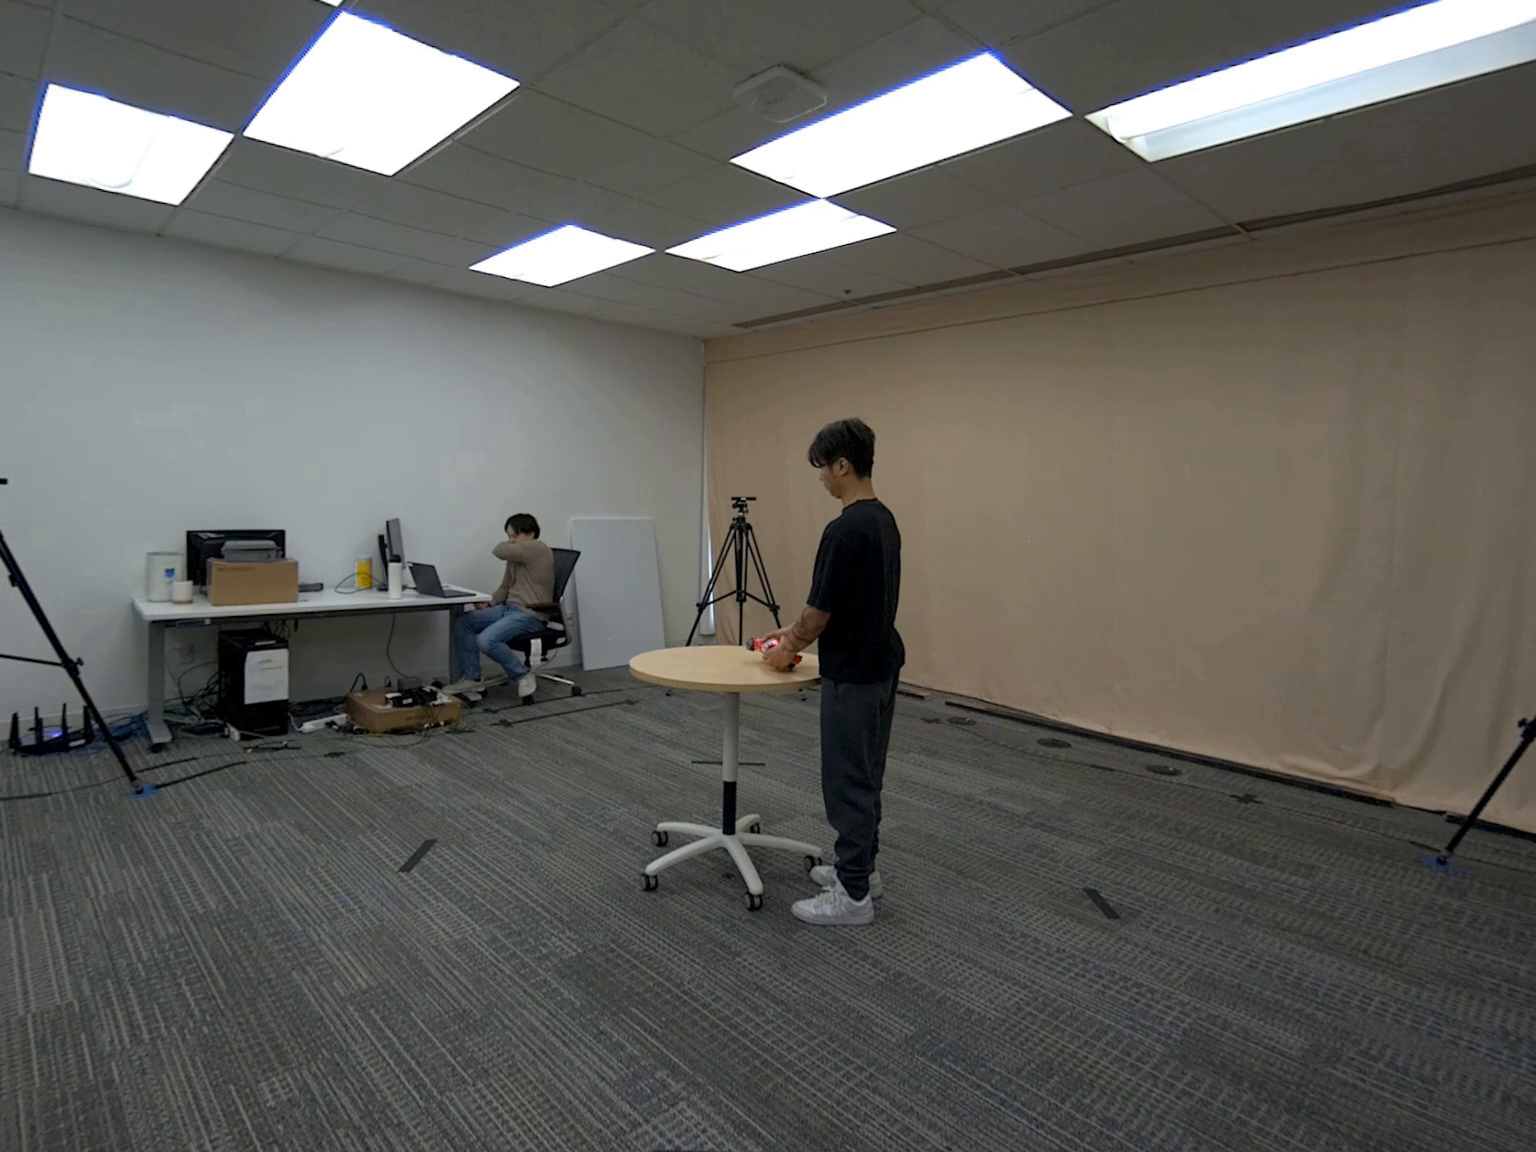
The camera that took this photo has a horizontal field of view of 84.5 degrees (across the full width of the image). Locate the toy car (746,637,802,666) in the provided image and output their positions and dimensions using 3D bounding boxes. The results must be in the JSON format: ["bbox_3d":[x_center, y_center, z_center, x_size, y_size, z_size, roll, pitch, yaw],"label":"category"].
[{"bbox_3d":[0.023,0.276,3.055,0.127,0.084,0.259,25,-16,-31],"label":"toy car"}]
